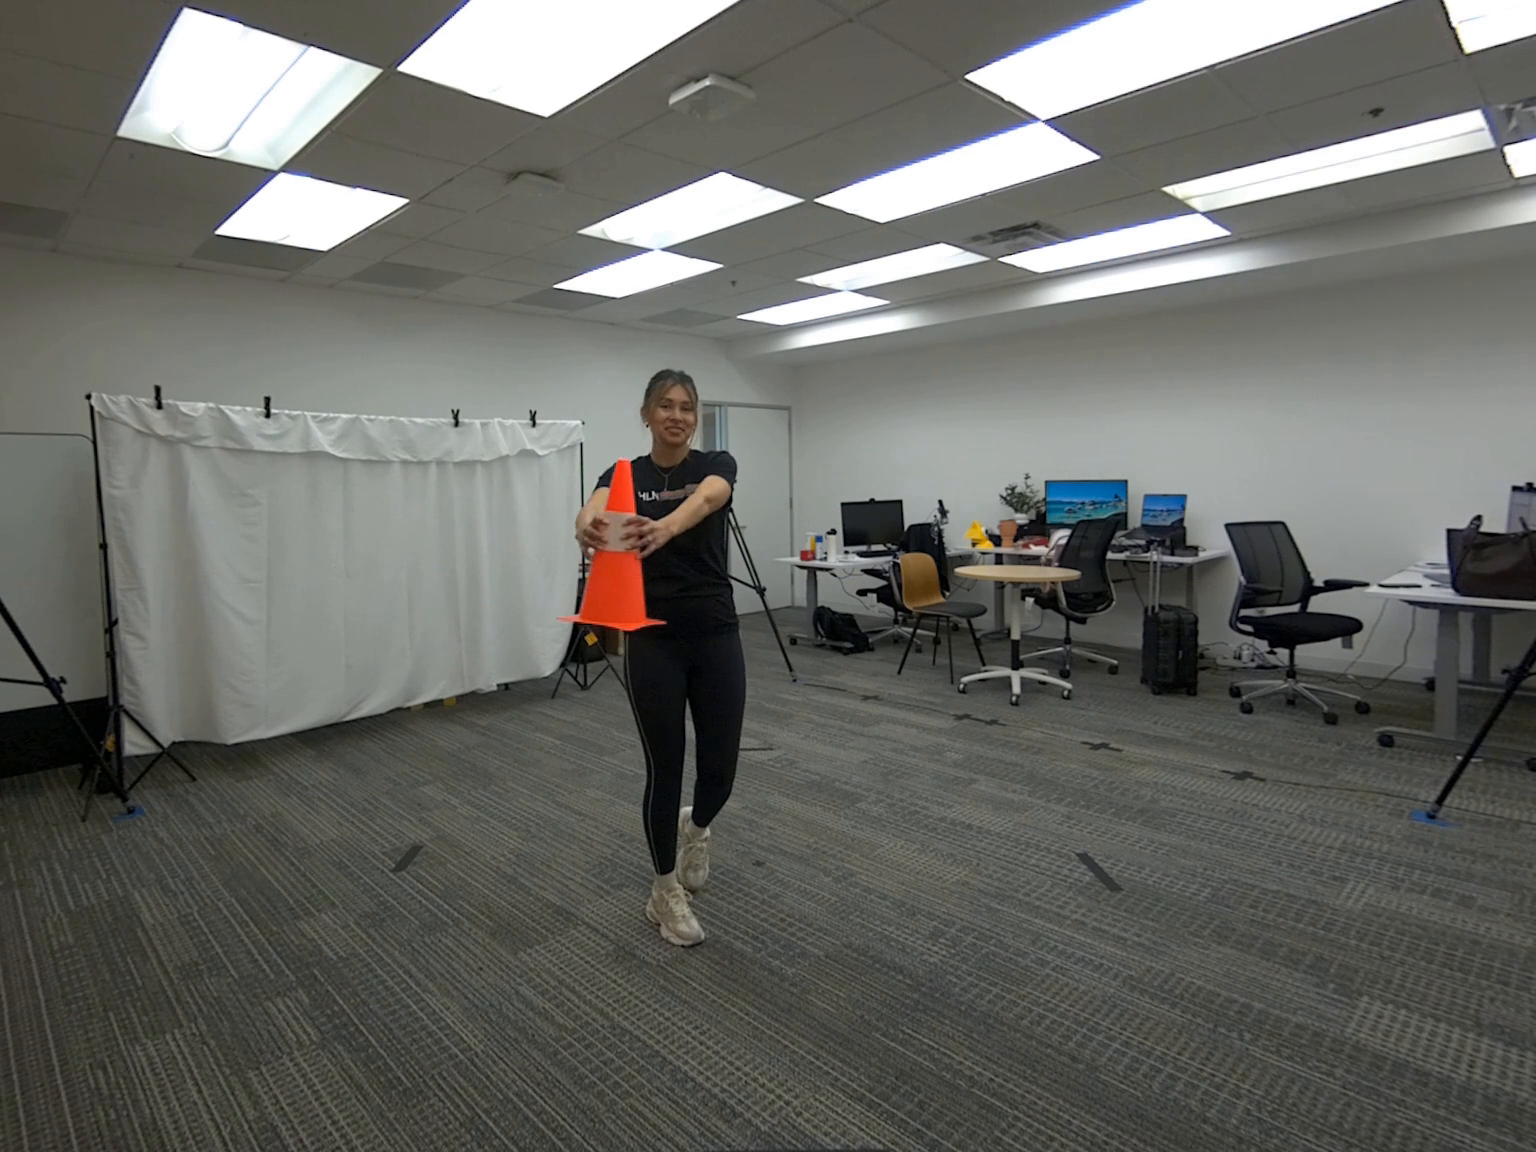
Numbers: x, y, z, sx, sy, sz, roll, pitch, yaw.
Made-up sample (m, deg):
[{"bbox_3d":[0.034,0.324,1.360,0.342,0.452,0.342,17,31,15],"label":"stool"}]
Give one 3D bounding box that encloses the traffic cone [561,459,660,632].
[{"bbox_3d":[-0.350,-0.083,2.016,0.211,0.384,0.197,2,-1,37],"label":"traffic cone"}]
